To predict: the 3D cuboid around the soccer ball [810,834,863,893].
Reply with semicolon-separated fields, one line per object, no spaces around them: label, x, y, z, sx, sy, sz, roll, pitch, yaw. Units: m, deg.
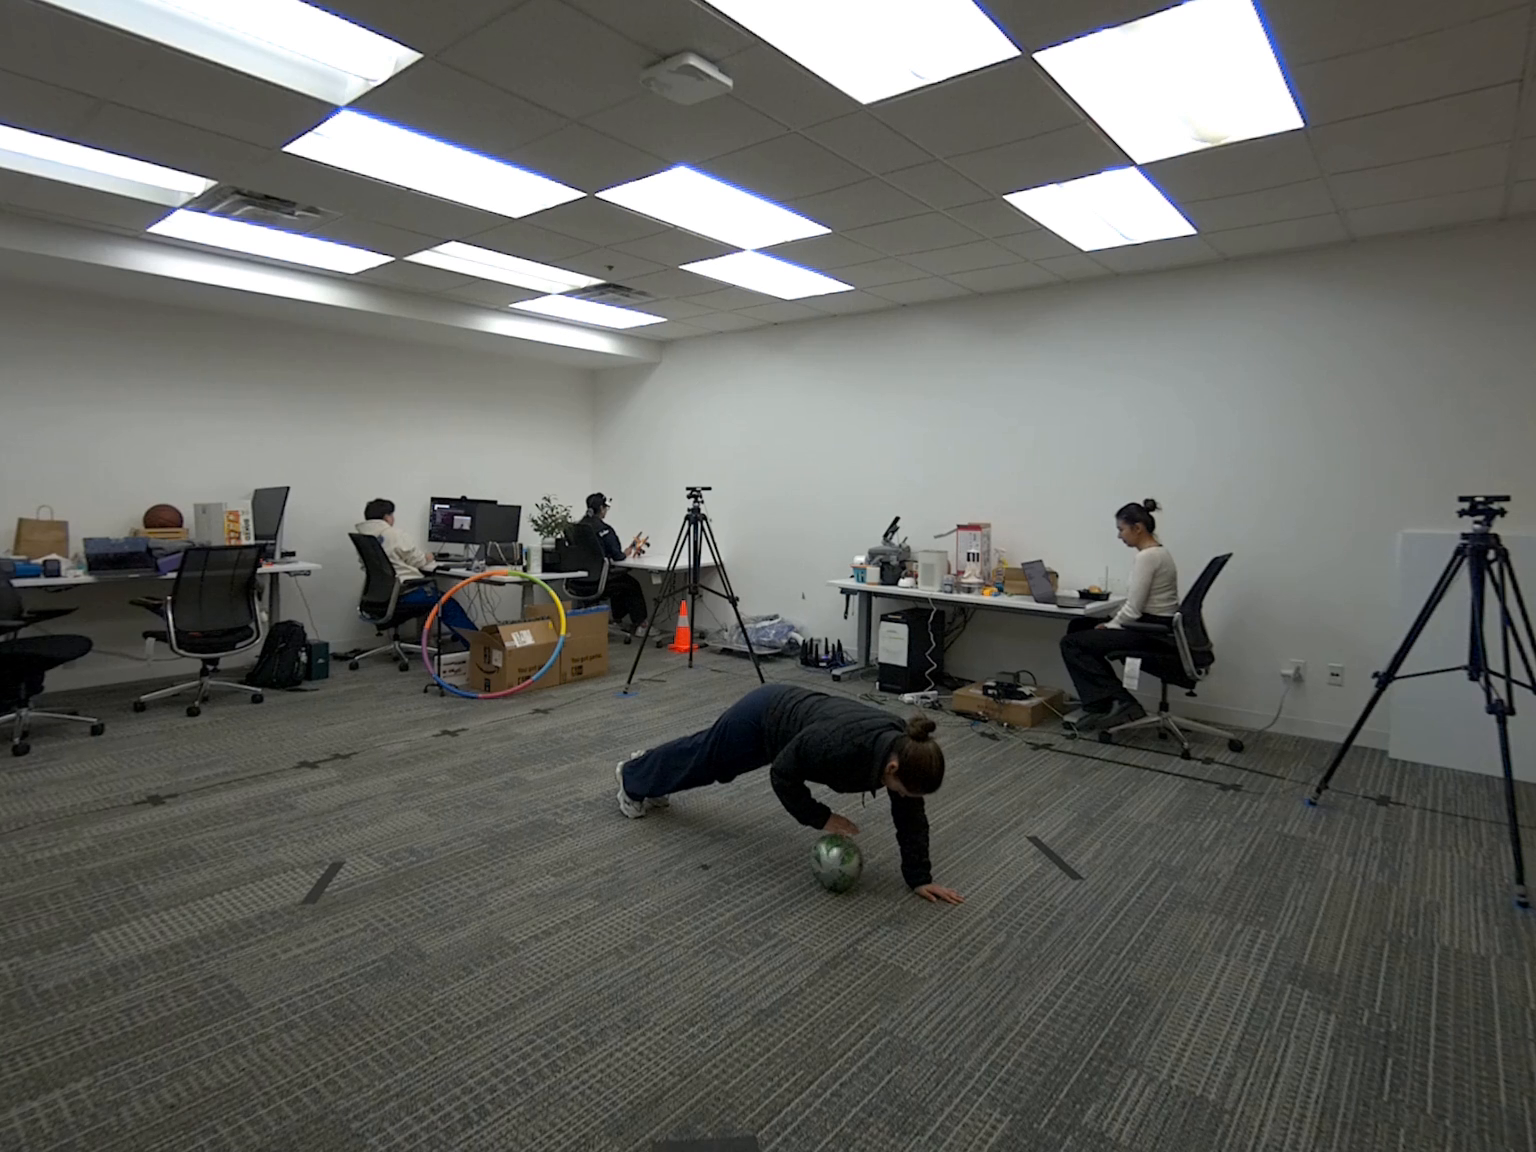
soccer ball;0.234;0.996;2.981;0.187;0.187;0.188;1;4;-2
